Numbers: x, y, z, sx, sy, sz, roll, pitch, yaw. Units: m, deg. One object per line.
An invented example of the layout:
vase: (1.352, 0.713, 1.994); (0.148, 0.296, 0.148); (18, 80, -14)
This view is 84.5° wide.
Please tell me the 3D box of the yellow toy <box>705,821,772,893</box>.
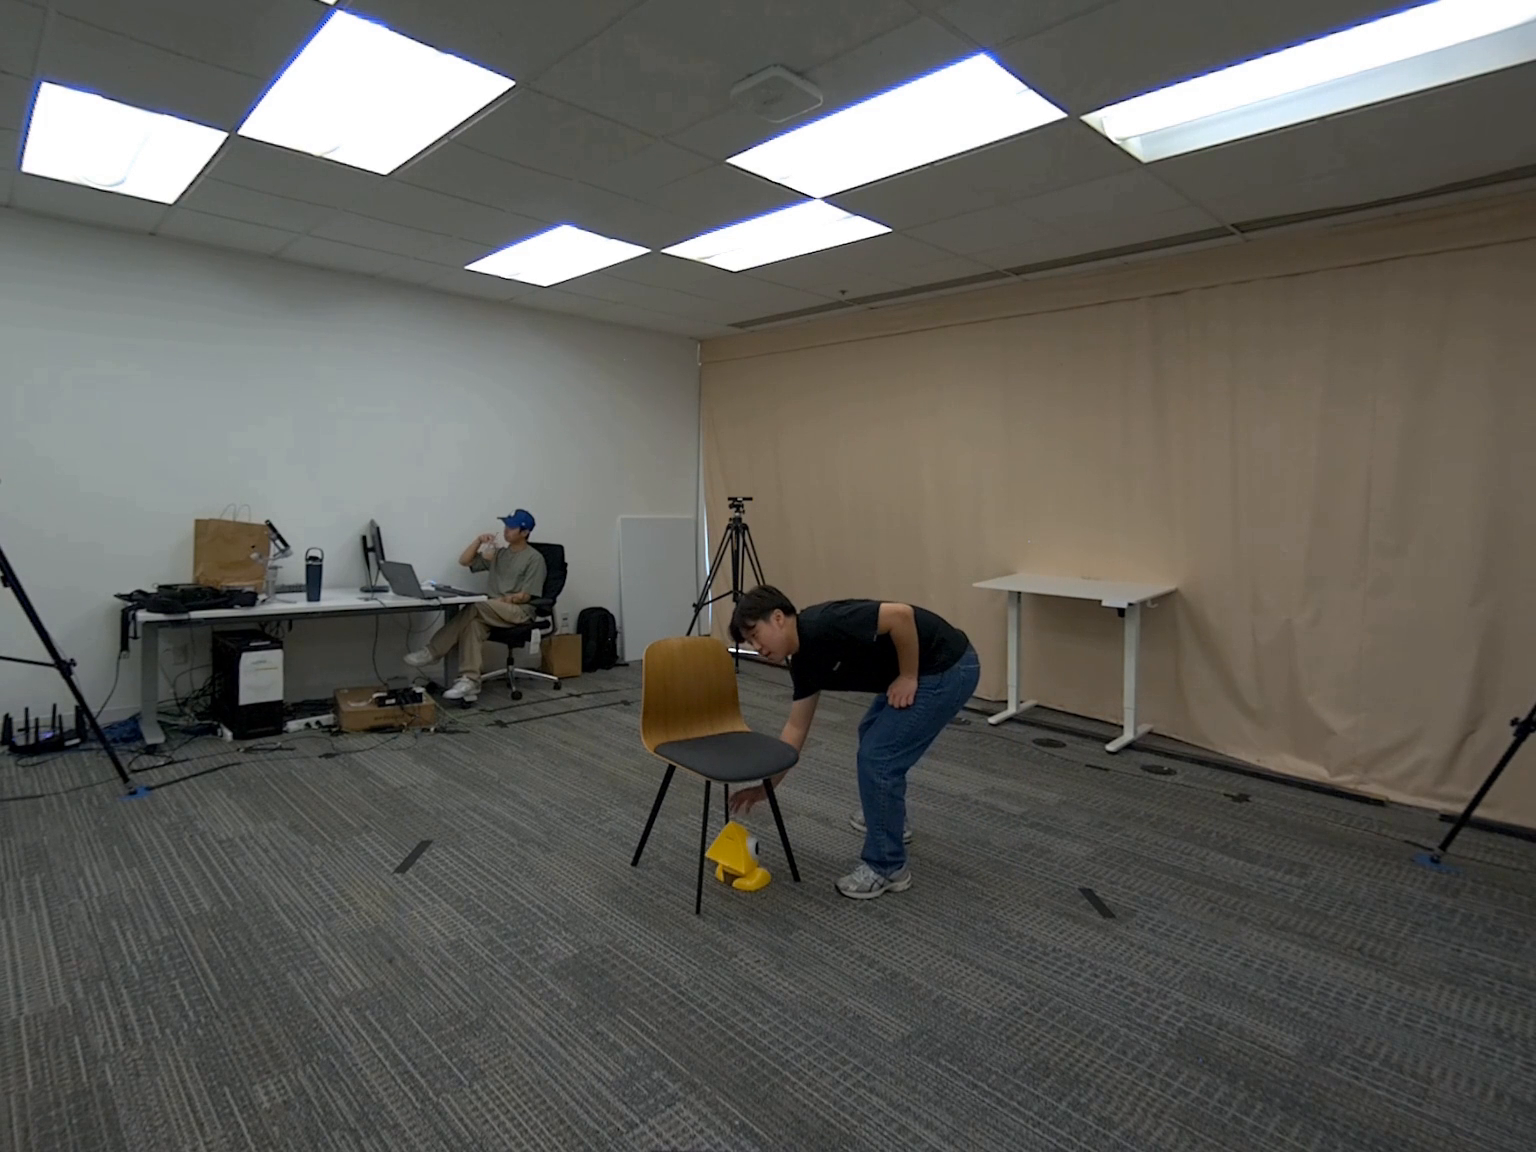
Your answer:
yellow toy: (-0.101, 0.988, 3.087); (0.210, 0.230, 0.188); (4, 5, 44)
